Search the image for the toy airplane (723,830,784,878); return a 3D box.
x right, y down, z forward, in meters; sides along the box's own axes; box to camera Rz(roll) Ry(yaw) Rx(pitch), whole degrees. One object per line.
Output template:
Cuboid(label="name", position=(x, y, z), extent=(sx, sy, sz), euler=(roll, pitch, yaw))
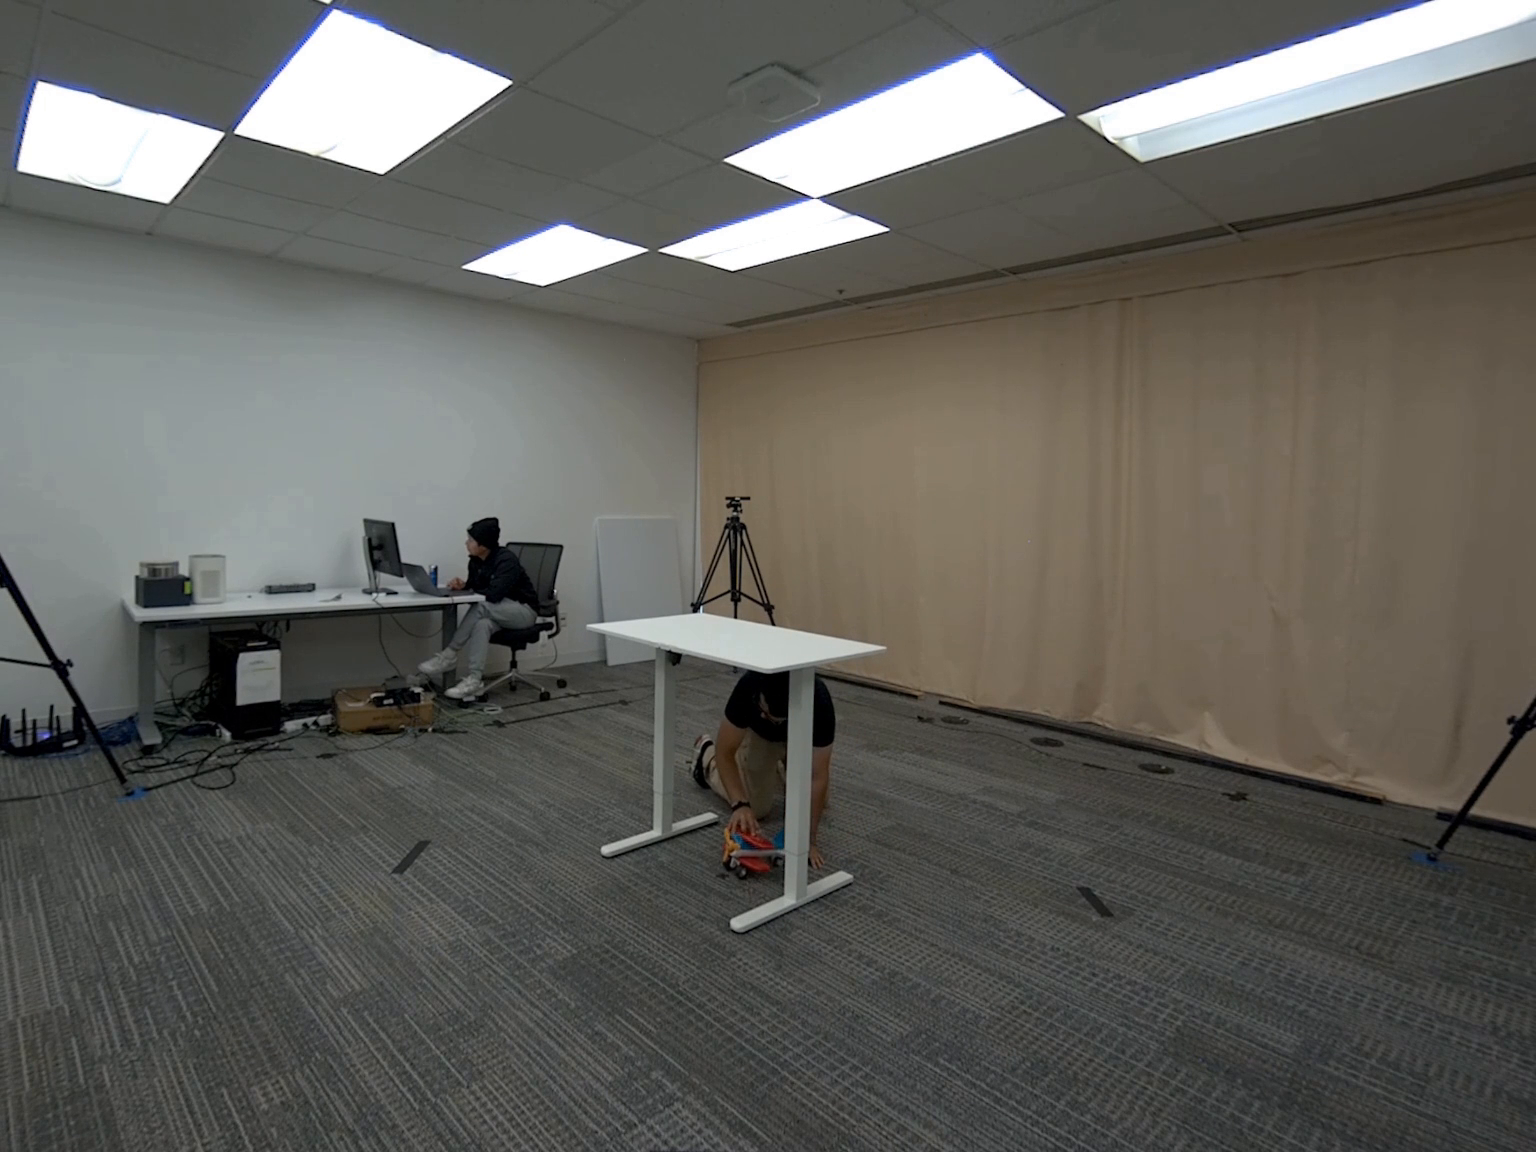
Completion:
Cuboid(label="toy airplane", position=(-0.073, 1.031, 3.171), extent=(0.256, 0.156, 0.255), euler=(4, 7, 30))
